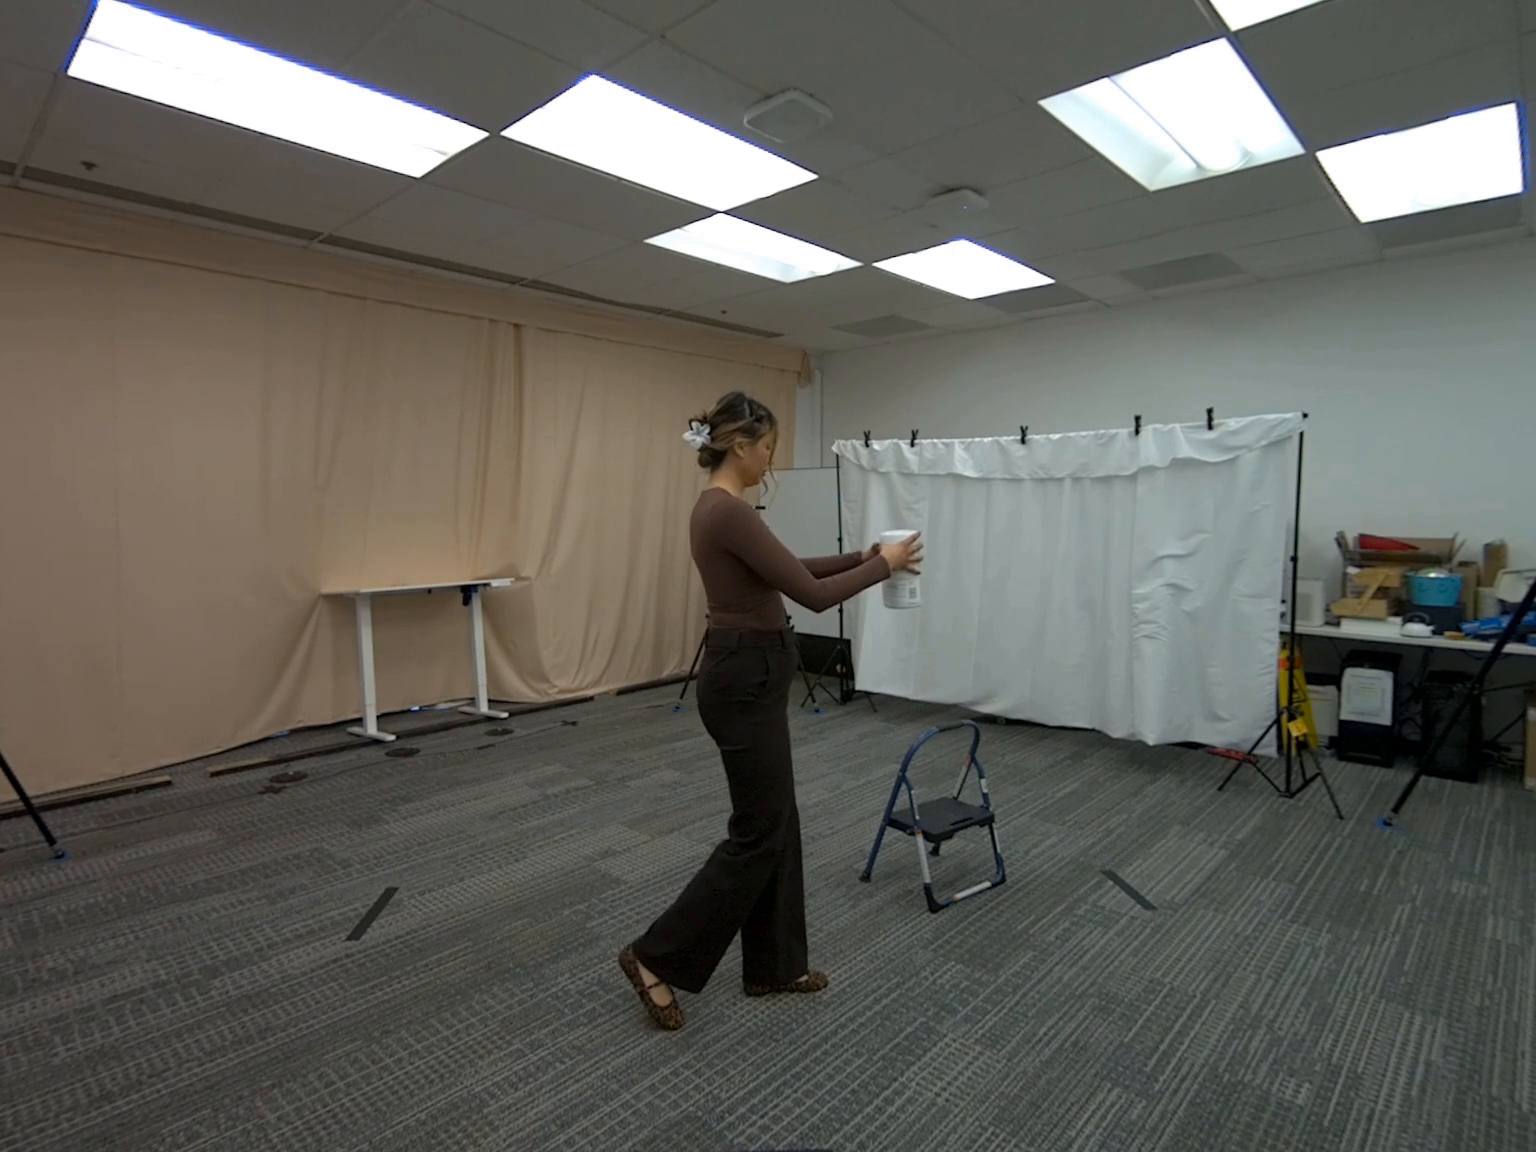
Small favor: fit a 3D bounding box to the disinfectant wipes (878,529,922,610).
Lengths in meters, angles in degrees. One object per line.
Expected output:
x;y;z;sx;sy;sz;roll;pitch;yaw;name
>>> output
0.374;-0.015;2.395;0.118;0.216;0.118;-4;7;-1;disinfectant wipes
